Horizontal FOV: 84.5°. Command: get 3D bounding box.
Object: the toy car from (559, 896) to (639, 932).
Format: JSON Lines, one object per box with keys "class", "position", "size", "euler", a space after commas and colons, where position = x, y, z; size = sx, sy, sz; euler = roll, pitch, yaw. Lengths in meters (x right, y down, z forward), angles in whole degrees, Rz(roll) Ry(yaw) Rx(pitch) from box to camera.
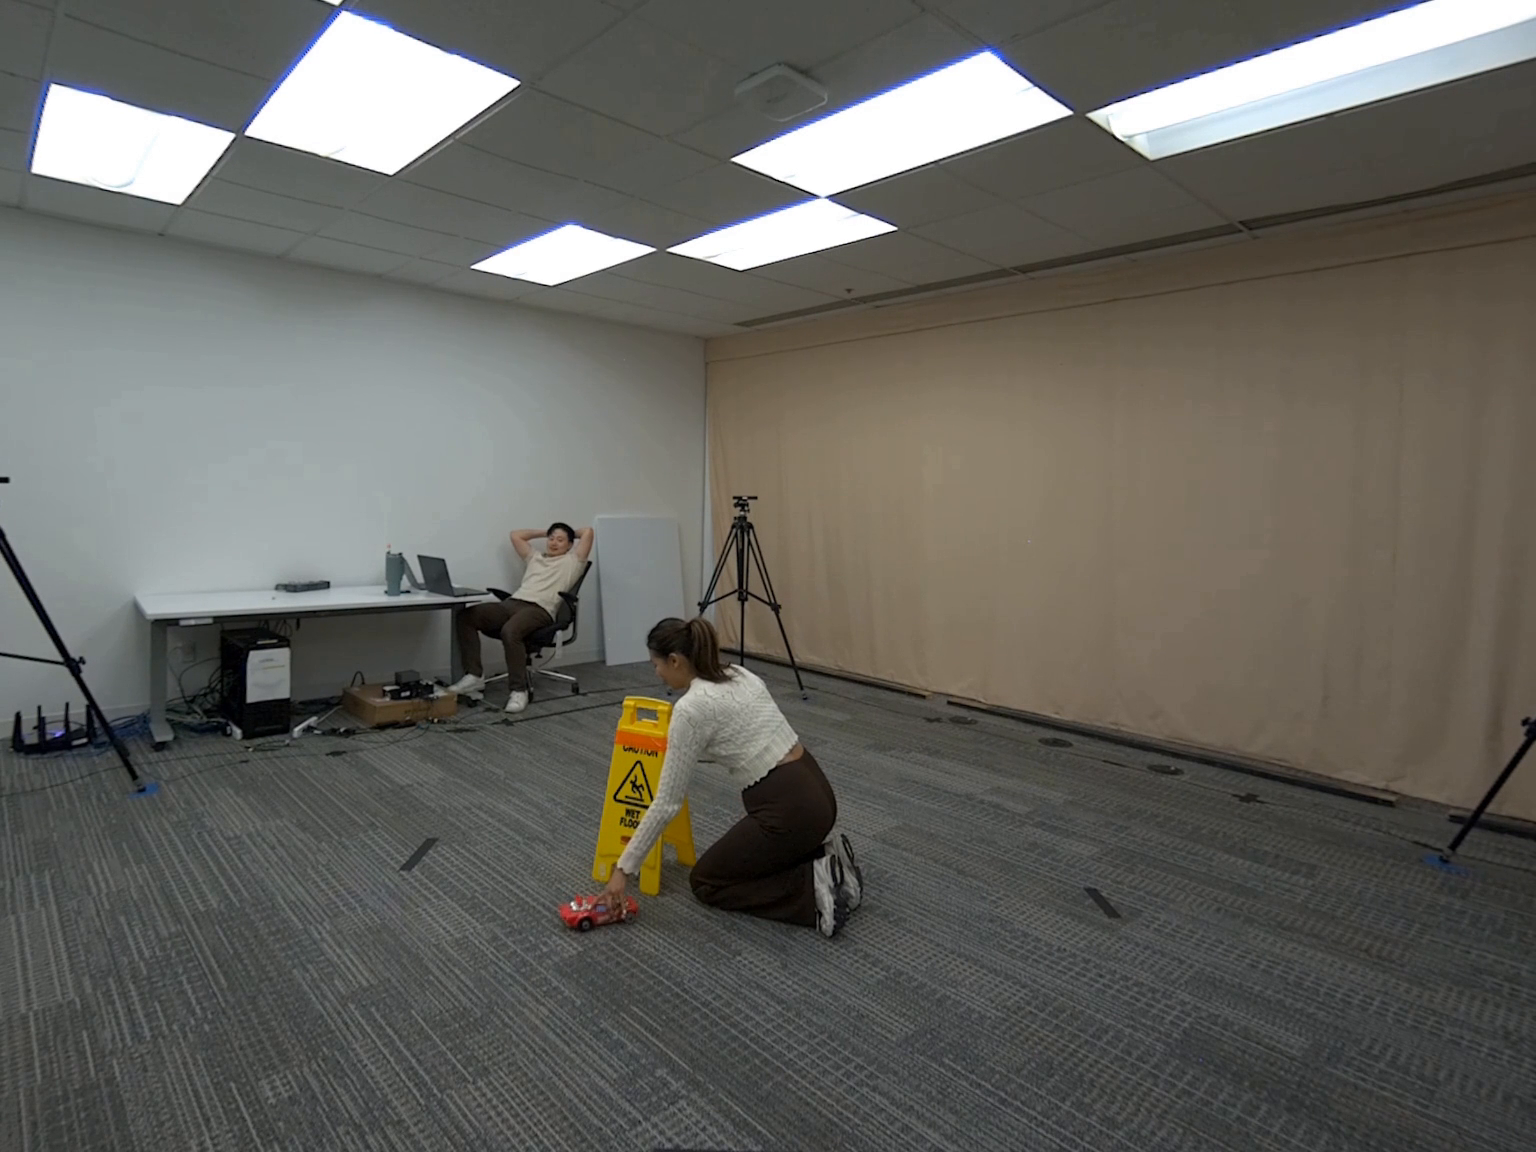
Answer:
{"class": "toy car", "position": [-0.567, 1.086, 2.755], "size": [0.249, 0.083, 0.133], "euler": [11, -2, -23]}
